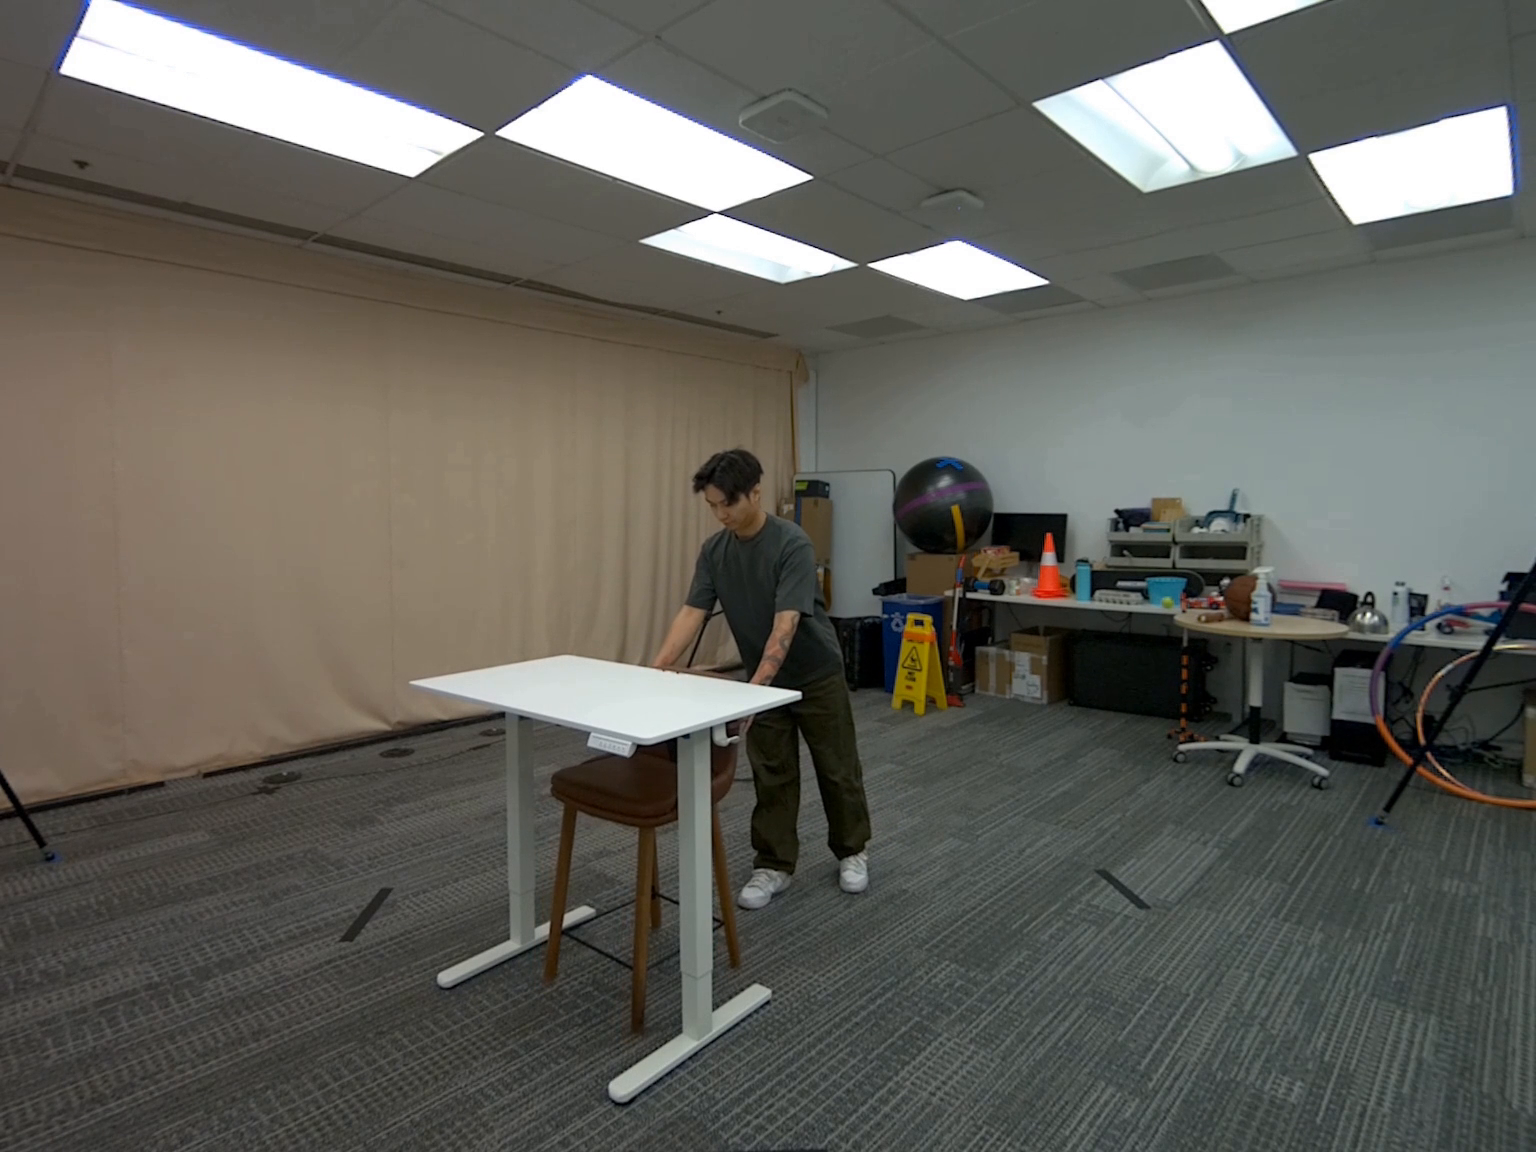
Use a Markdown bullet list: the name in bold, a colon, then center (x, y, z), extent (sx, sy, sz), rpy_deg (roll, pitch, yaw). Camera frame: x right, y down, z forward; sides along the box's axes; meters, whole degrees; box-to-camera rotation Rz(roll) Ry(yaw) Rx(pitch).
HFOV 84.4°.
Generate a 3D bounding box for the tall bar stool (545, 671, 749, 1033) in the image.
- **tall bar stool**: center (-0.359, 0.752, 2.495), extent (0.471, 0.889, 0.453), rpy_deg (3, 1, 40)
